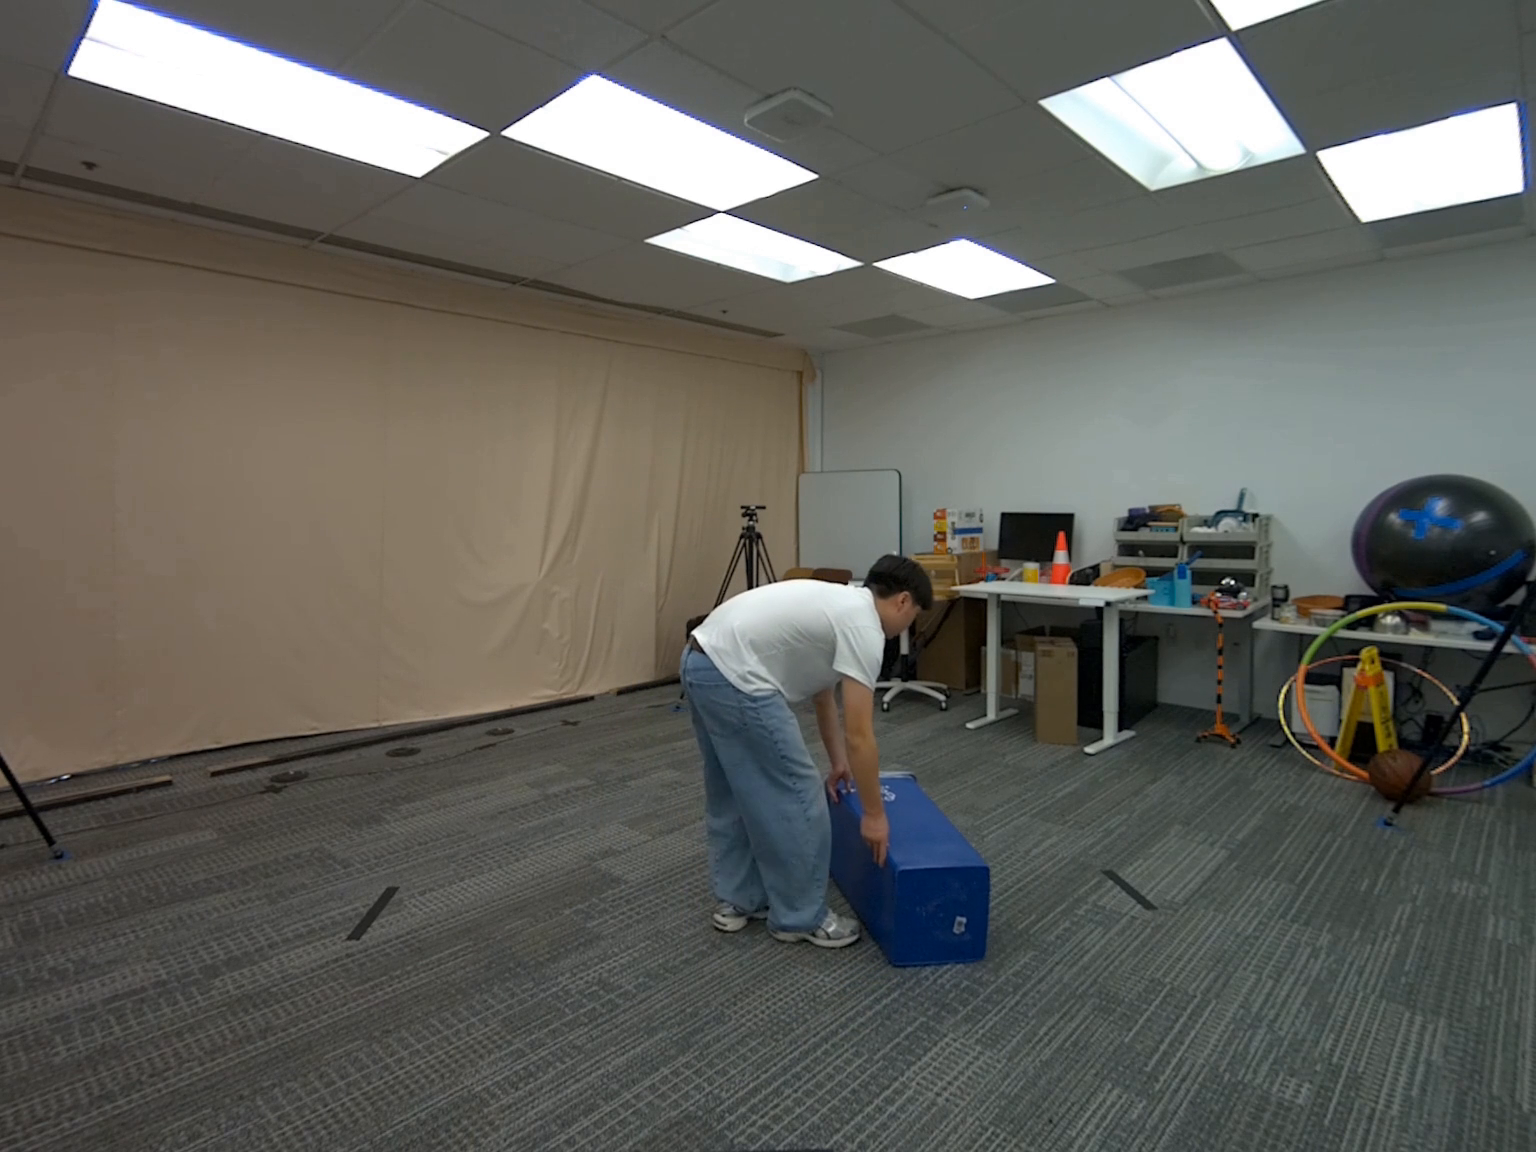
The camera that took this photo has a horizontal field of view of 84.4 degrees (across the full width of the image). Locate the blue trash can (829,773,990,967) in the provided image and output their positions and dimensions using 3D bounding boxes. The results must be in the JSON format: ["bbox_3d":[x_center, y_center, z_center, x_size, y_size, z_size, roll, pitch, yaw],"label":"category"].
[{"bbox_3d":[0.462,0.981,2.885,0.370,0.376,0.724,0,7,-11],"label":"blue trash can"}]
